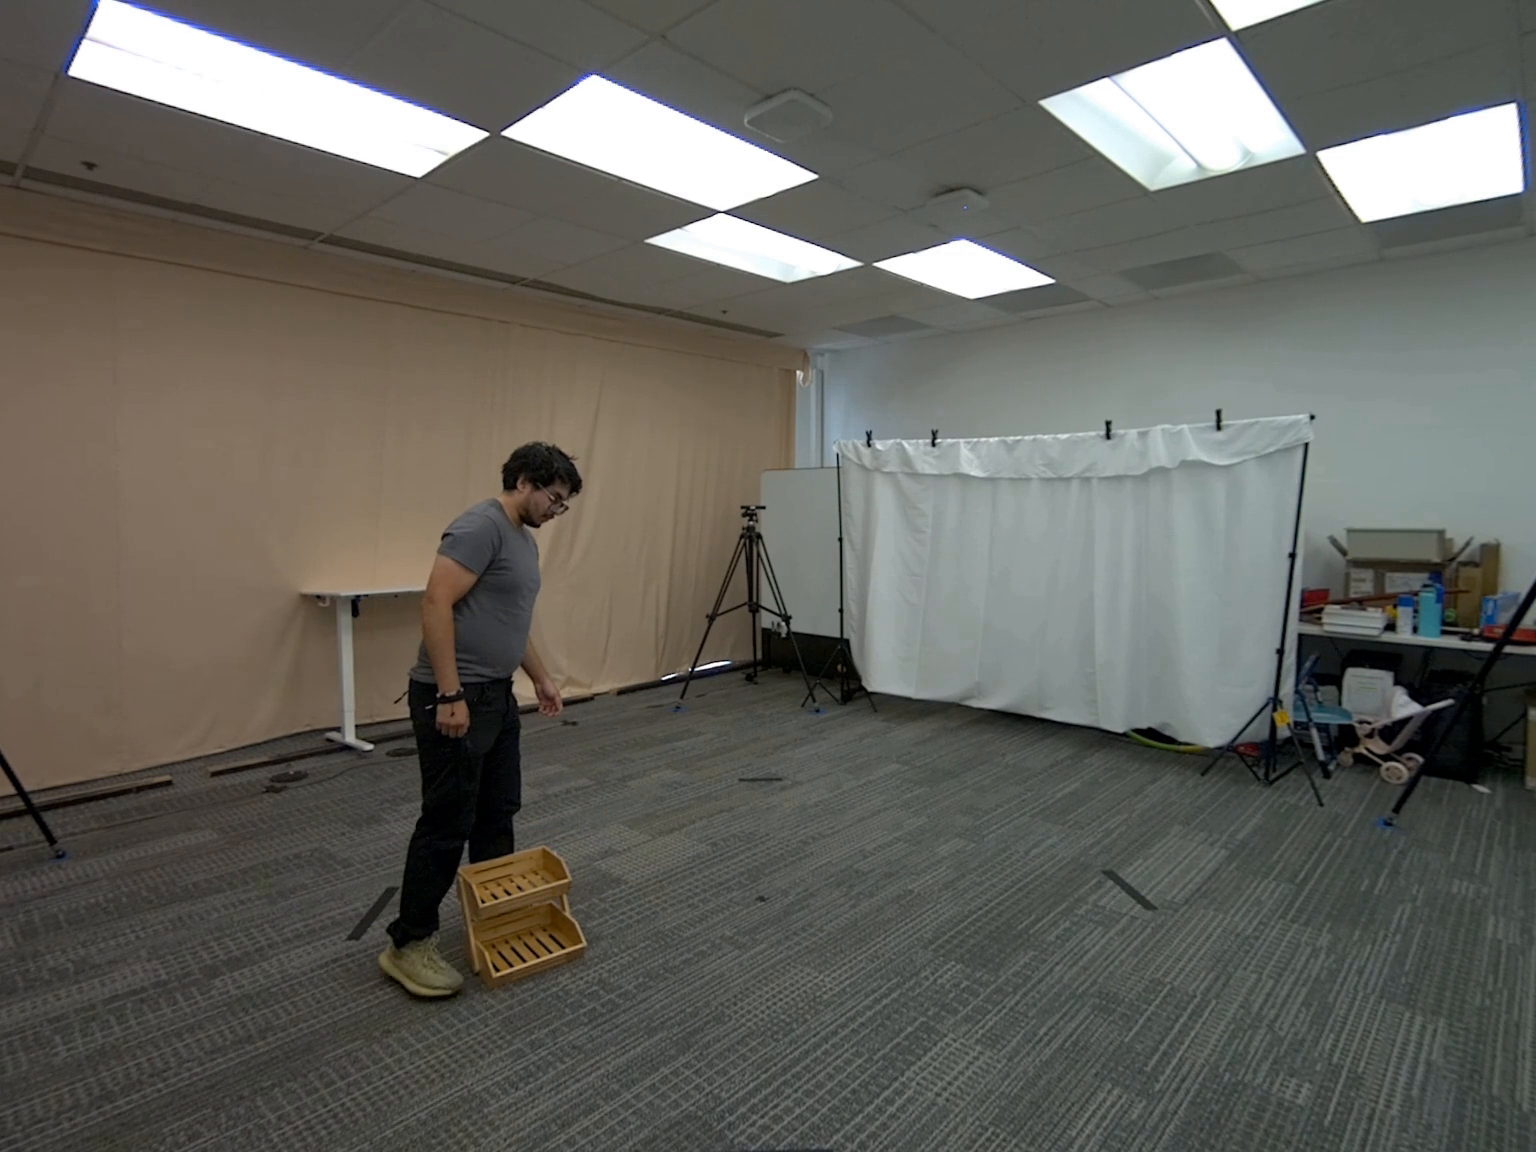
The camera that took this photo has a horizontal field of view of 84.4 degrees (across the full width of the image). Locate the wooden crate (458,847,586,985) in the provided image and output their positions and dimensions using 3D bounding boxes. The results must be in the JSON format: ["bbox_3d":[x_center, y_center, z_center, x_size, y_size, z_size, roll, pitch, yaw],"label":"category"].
[{"bbox_3d":[-0.766,1.050,2.605,0.315,0.273,0.312,-3,4,-38],"label":"wooden crate"}]
